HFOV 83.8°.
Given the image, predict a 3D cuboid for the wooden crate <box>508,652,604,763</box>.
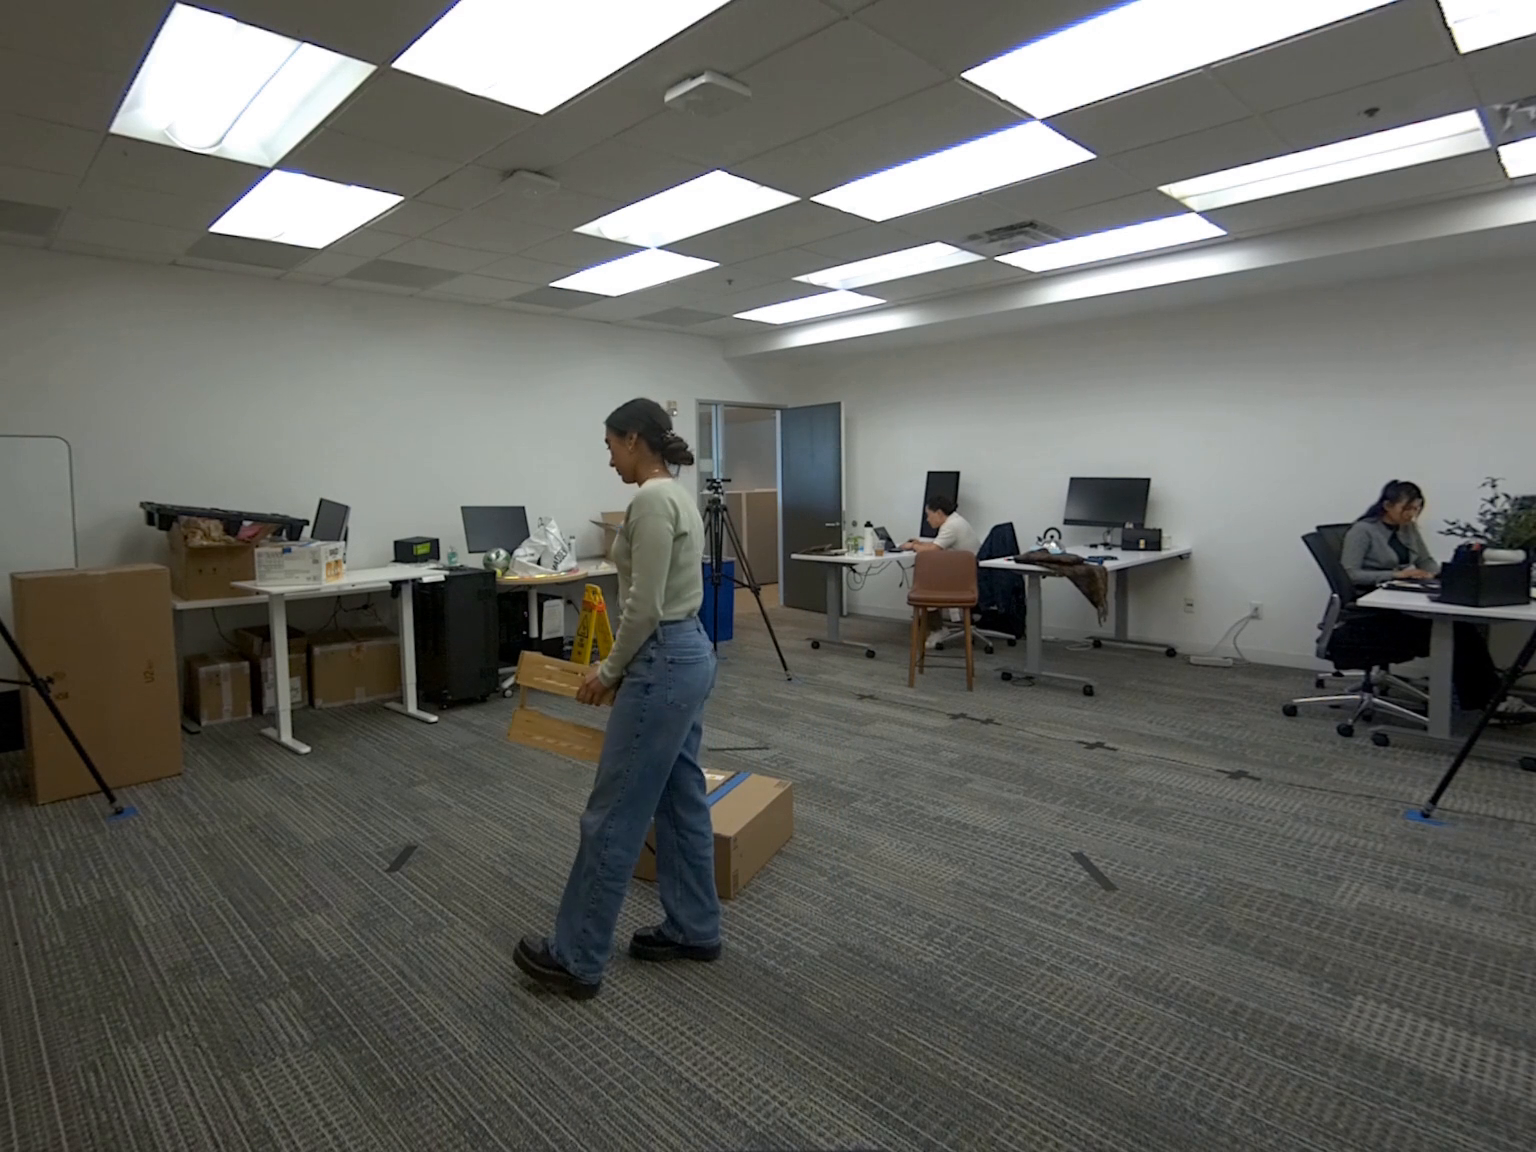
[{"bbox_3d":[-0.579,0.382,2.575,0.327,0.275,0.298,12,-7,6],"label":"wooden crate"}]
